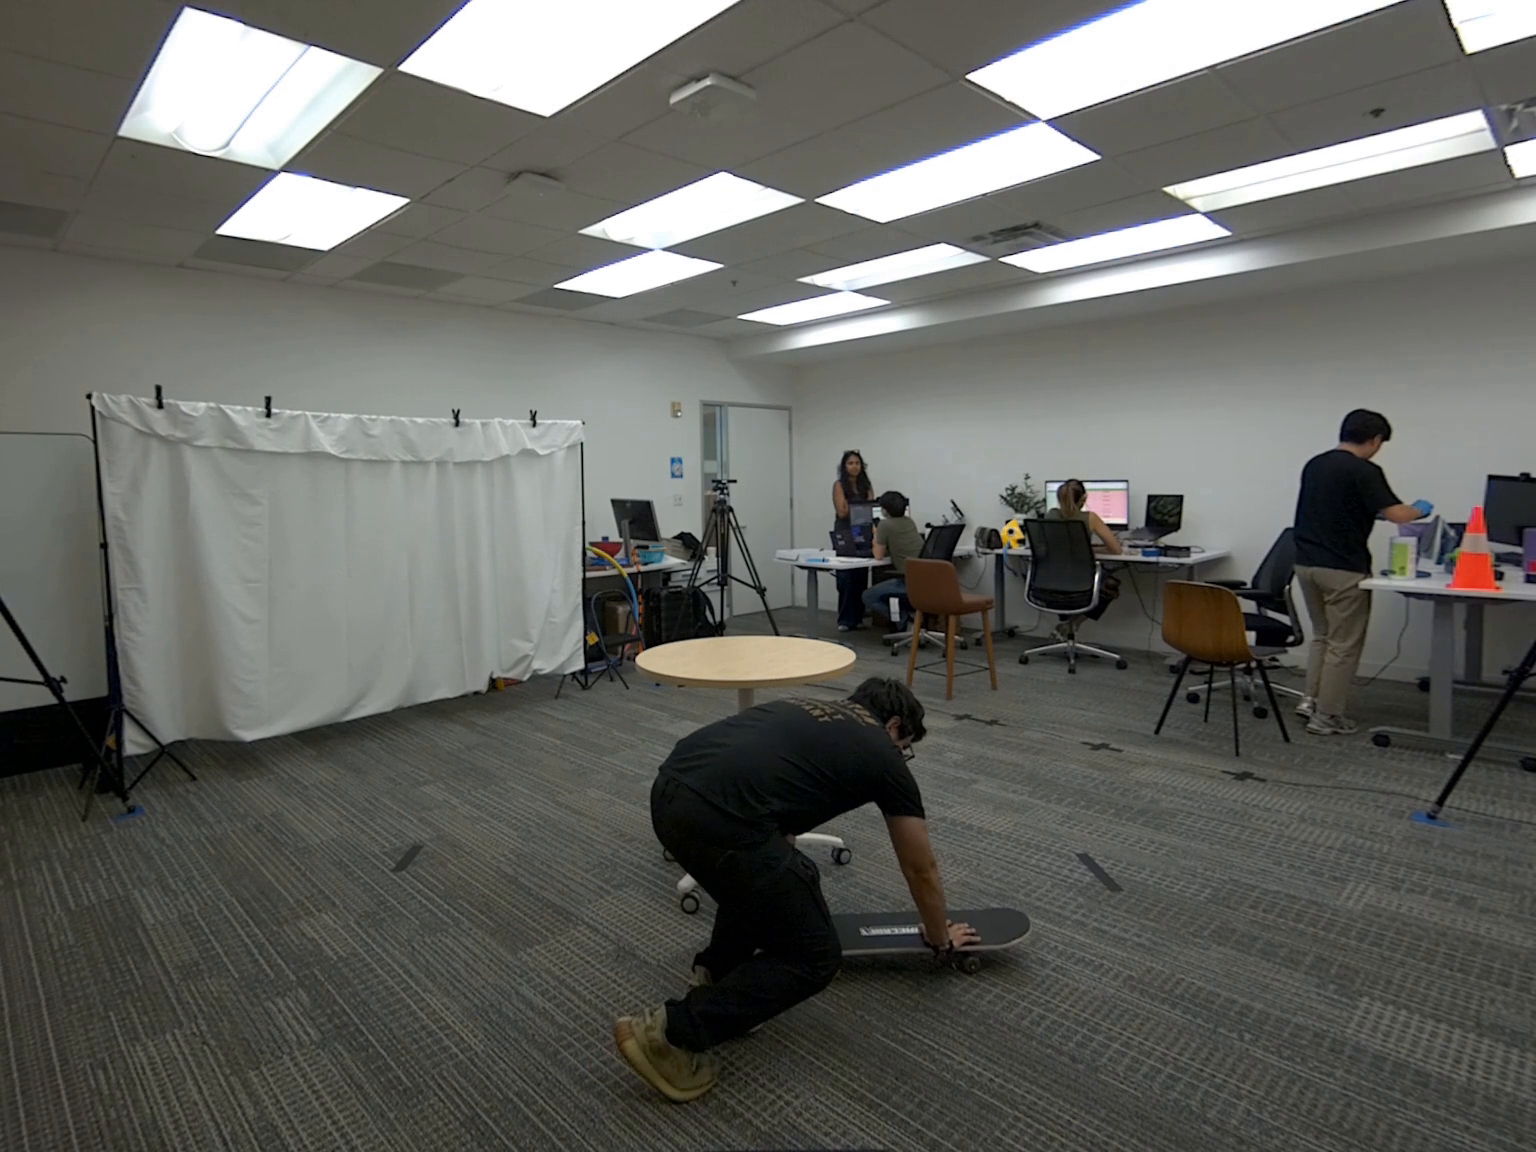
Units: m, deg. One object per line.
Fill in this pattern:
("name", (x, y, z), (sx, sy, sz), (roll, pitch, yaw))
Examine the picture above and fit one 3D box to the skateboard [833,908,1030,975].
("skateboard", (0.365, 1.047, 2.480), (0.784, 0.110, 0.195), (-1, 7, -1))
